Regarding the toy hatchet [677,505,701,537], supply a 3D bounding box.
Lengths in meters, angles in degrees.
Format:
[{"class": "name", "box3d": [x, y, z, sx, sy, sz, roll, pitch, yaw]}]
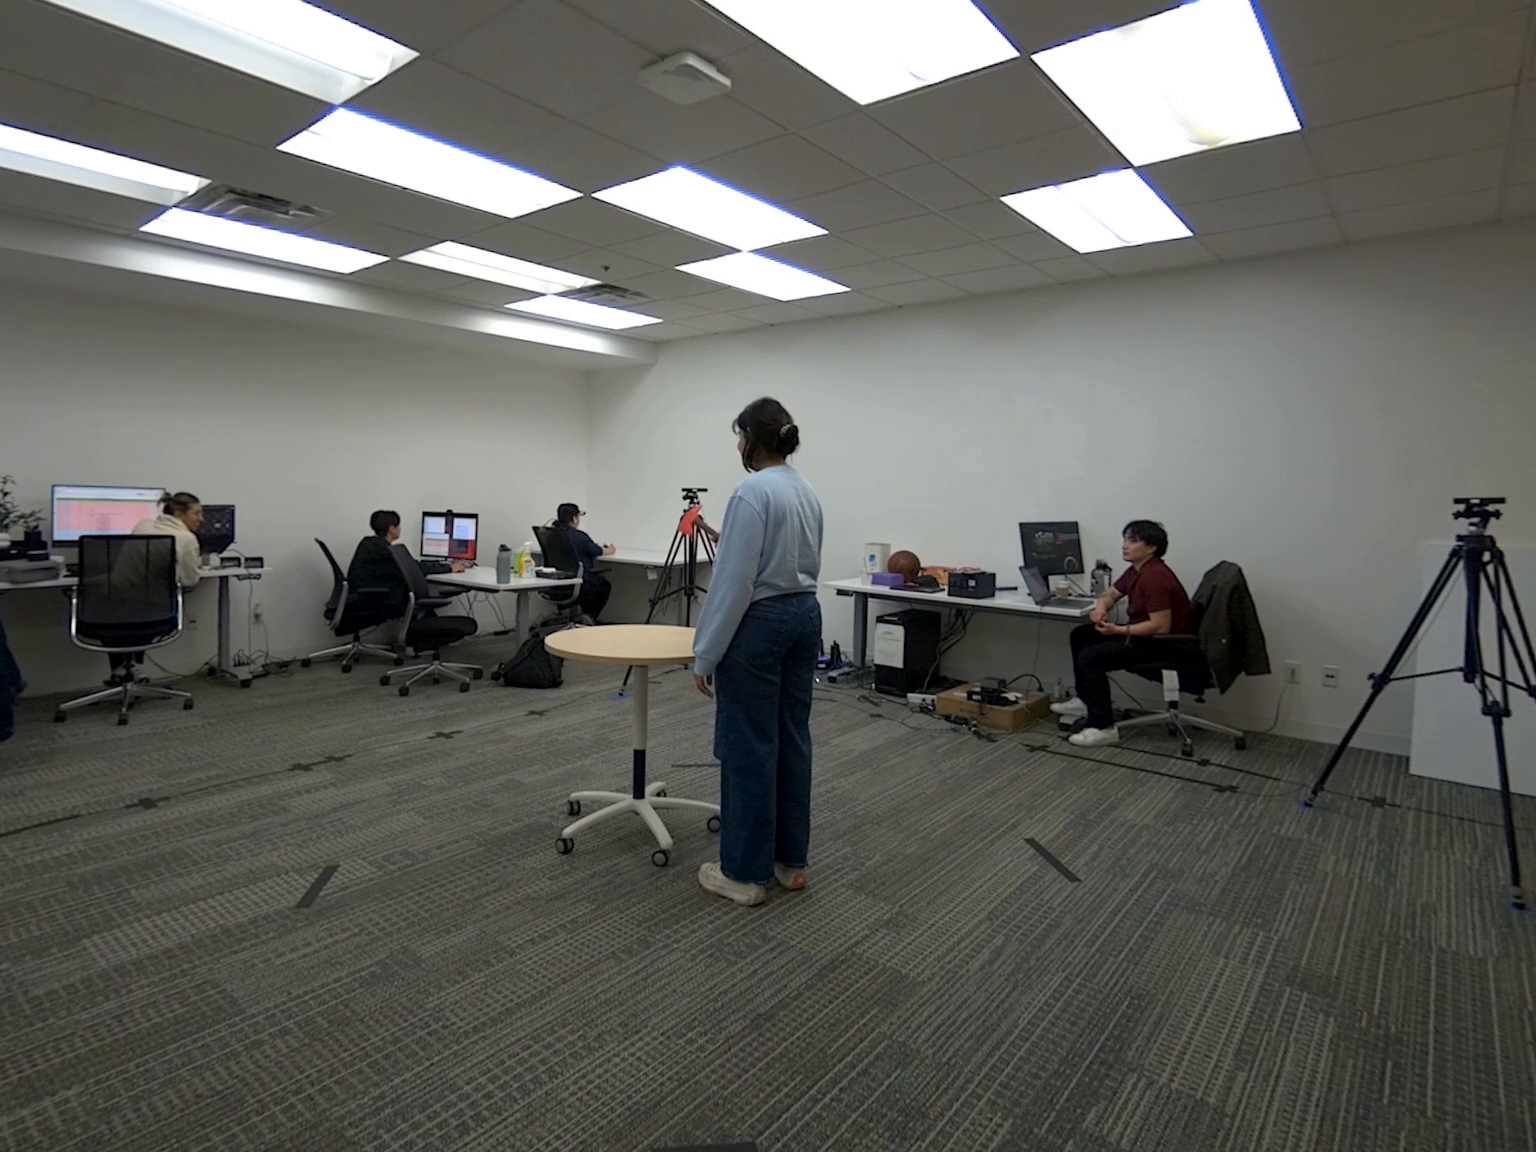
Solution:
[{"class": "toy hatchet", "box3d": [-0.248, -0.149, 3.227, 0.131, 0.278, 0.029, -35, -23, -7]}]
